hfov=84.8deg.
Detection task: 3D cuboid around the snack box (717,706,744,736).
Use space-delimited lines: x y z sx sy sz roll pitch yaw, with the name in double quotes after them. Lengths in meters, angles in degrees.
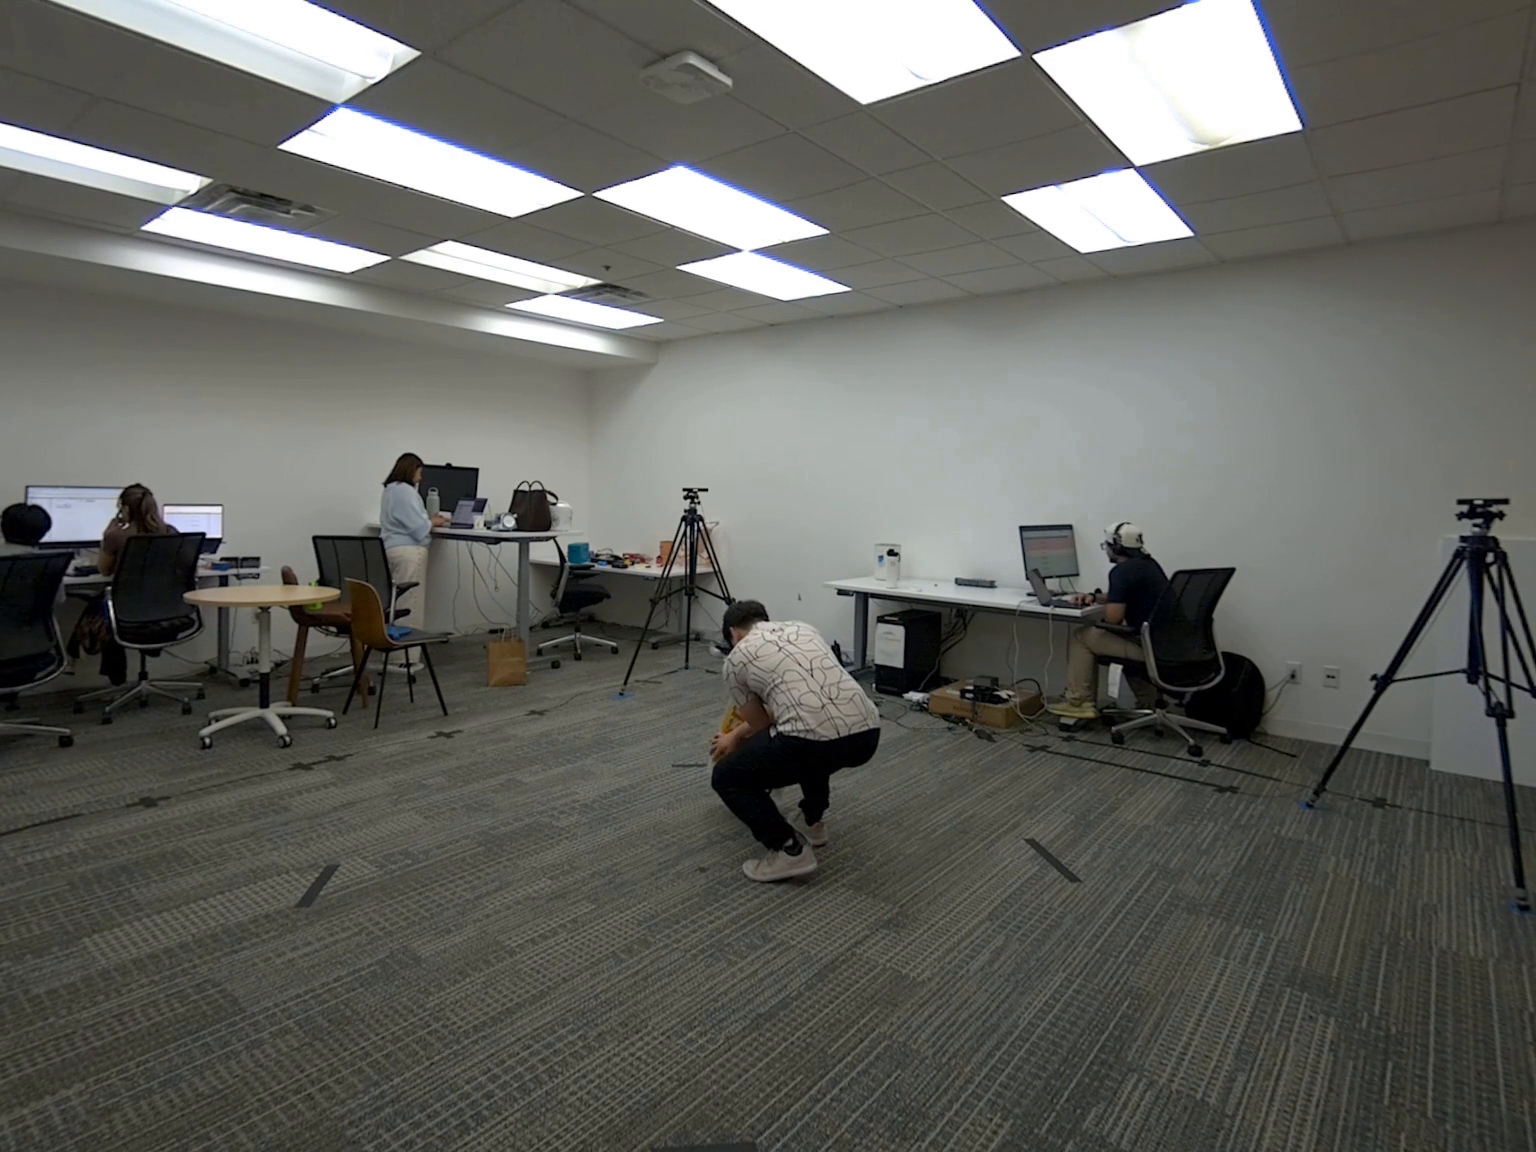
-0.049 0.694 3.696 0.342 0.406 0.204 18 -4 2 "snack box"
